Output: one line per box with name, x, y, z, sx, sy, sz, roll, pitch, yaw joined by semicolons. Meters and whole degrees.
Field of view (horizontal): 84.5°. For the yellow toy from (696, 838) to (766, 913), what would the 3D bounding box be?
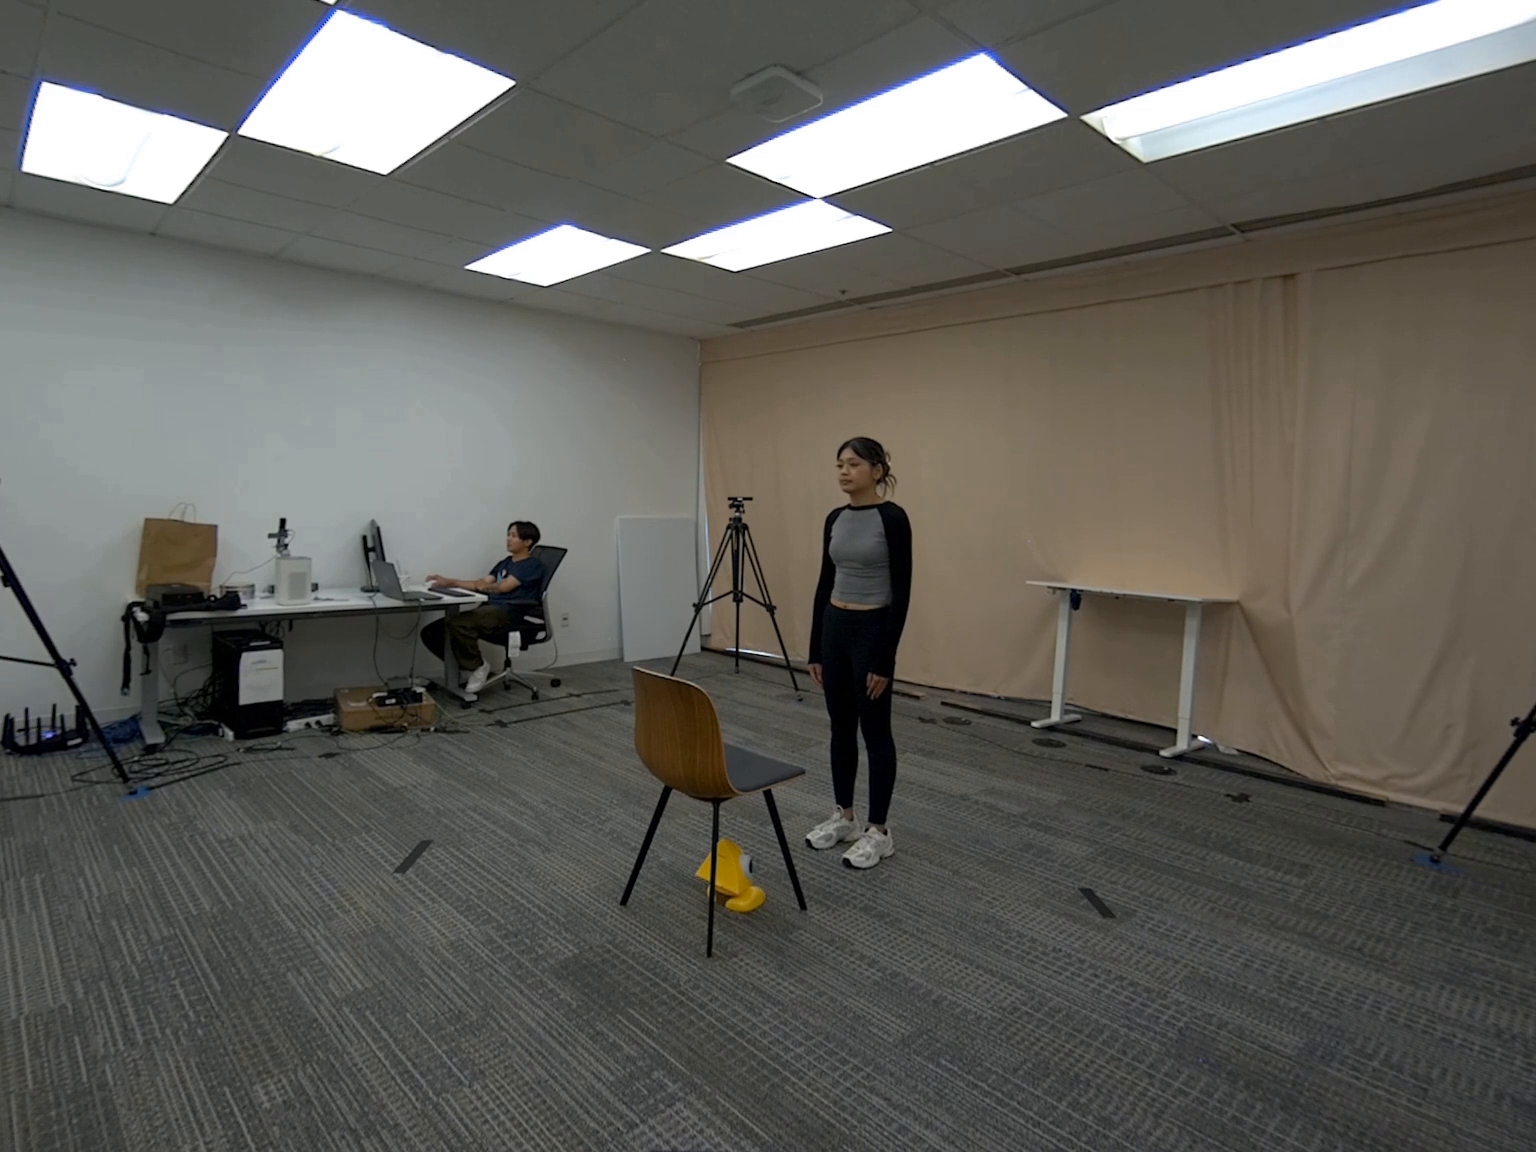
yellow toy;-0.124;1.014;2.929;0.210;0.230;0.189;4;5;43
